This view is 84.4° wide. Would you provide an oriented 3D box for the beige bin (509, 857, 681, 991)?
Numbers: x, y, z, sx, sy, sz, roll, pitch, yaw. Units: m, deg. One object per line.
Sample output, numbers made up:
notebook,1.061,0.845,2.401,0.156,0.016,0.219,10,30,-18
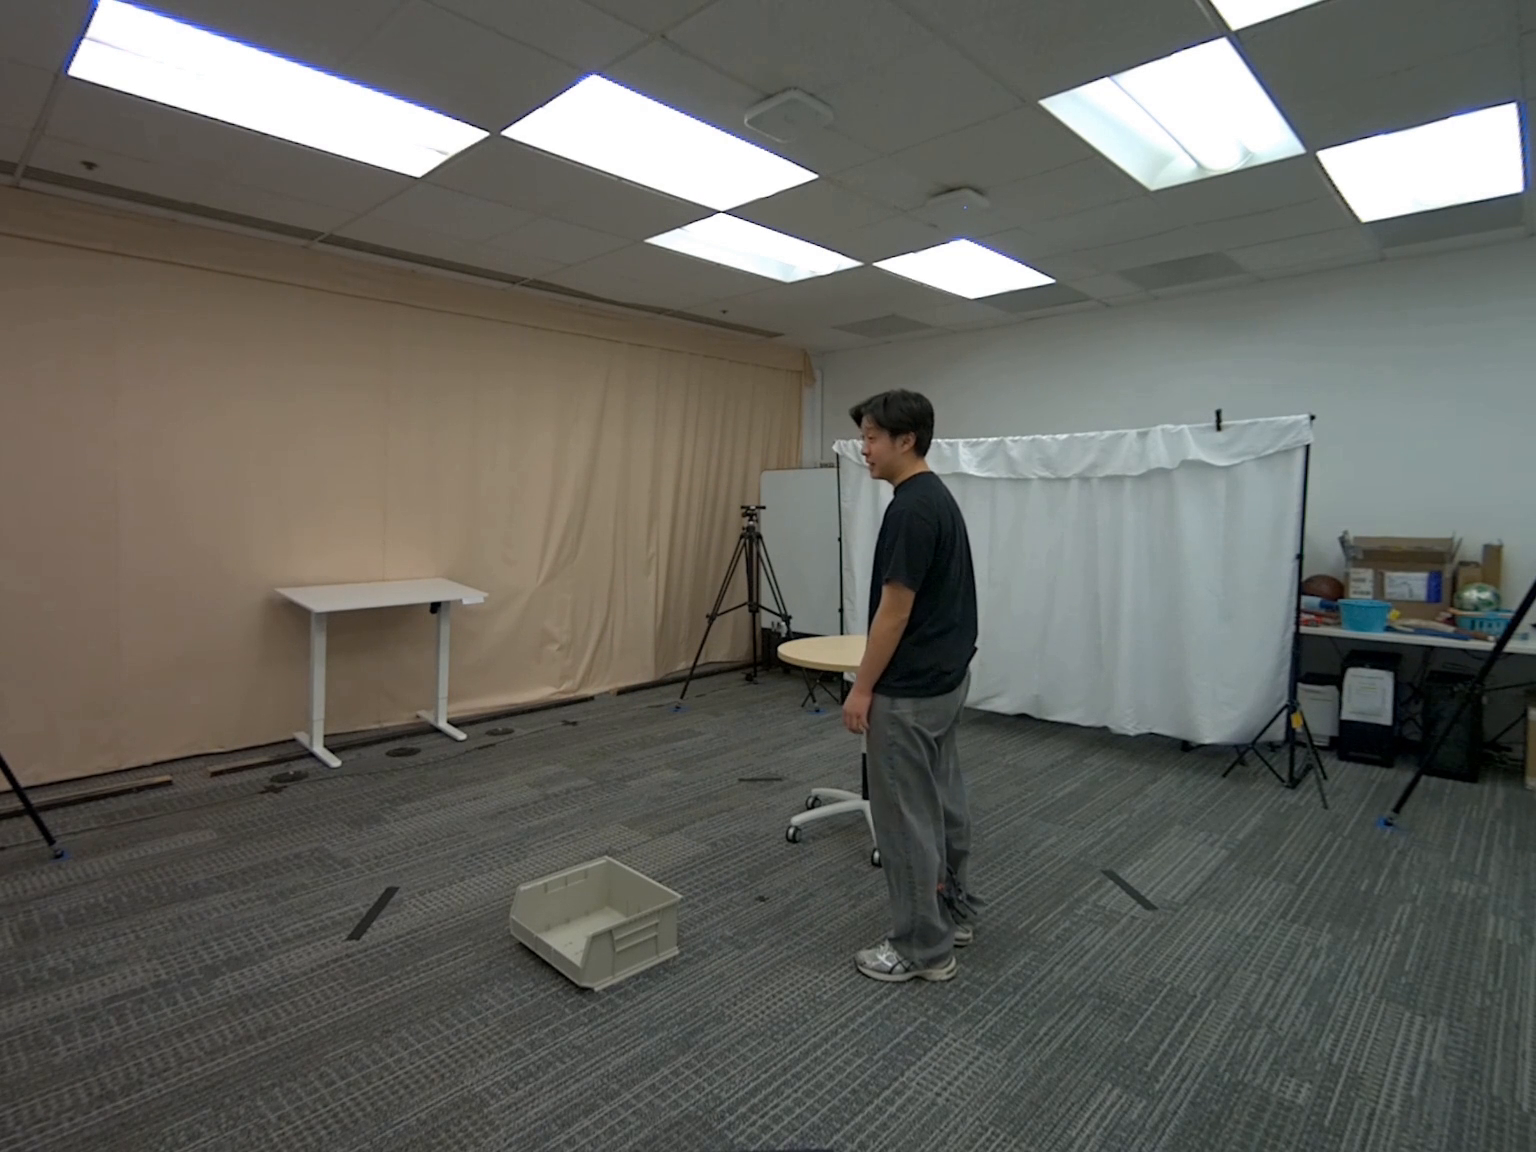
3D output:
beige bin,-0.540,1.085,2.652,0.365,0.189,0.436,-3,4,-45
